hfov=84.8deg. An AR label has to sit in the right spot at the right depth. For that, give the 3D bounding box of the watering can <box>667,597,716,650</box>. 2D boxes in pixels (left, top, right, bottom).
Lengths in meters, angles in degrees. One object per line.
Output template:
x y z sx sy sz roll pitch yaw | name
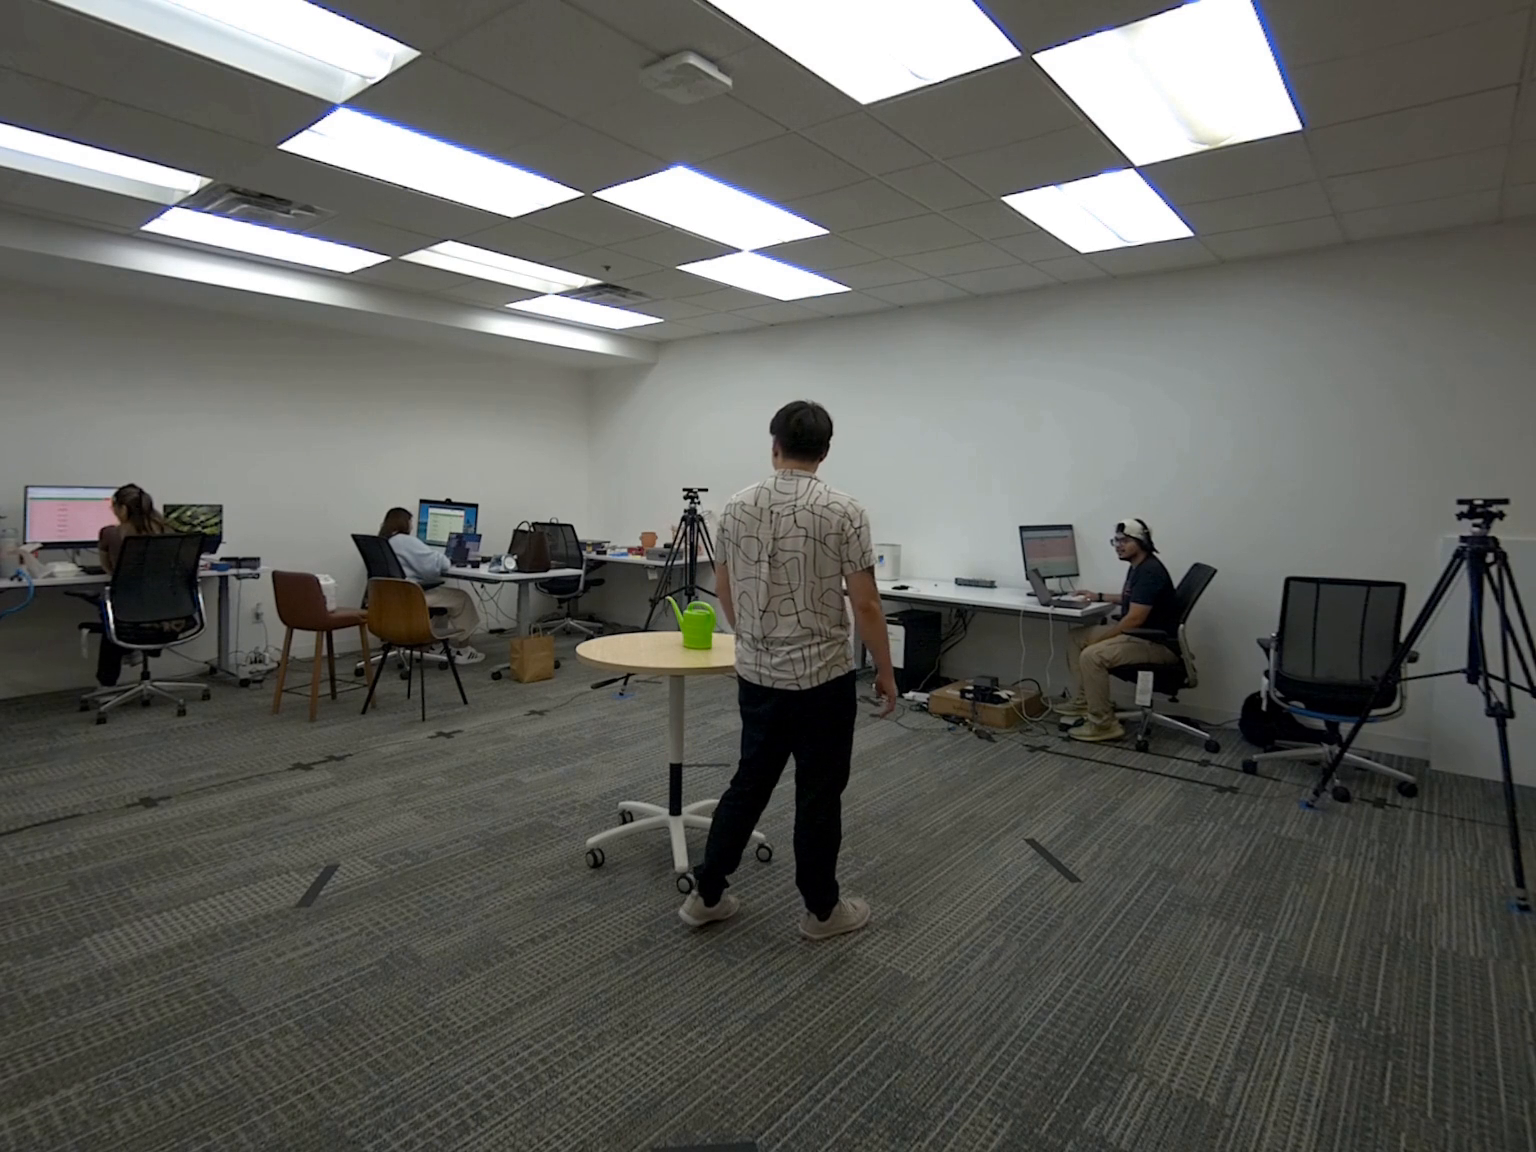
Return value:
-0.302 0.177 3.292 0.095 0.176 0.287 2 5 -33 | watering can
